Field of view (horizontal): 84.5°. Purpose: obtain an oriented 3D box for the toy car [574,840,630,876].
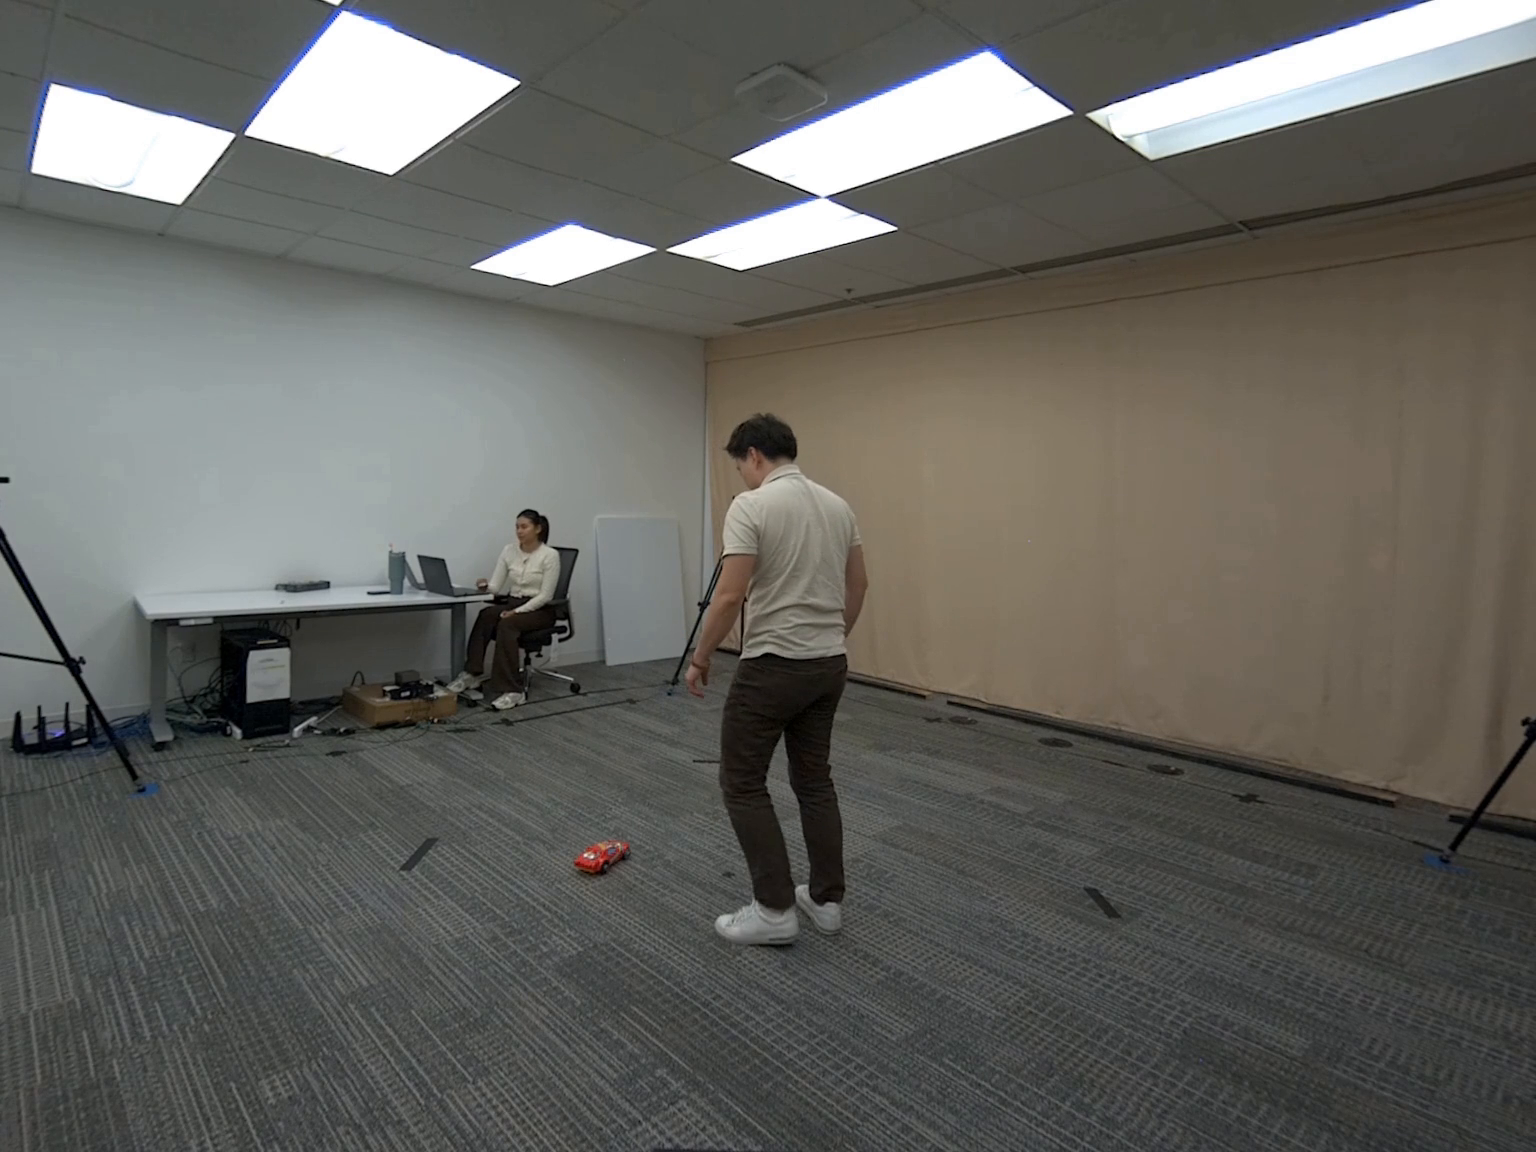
[{"bbox_3d":[-0.633,1.056,3.153,0.133,0.083,0.248,4,-6,26],"label":"toy car"}]
